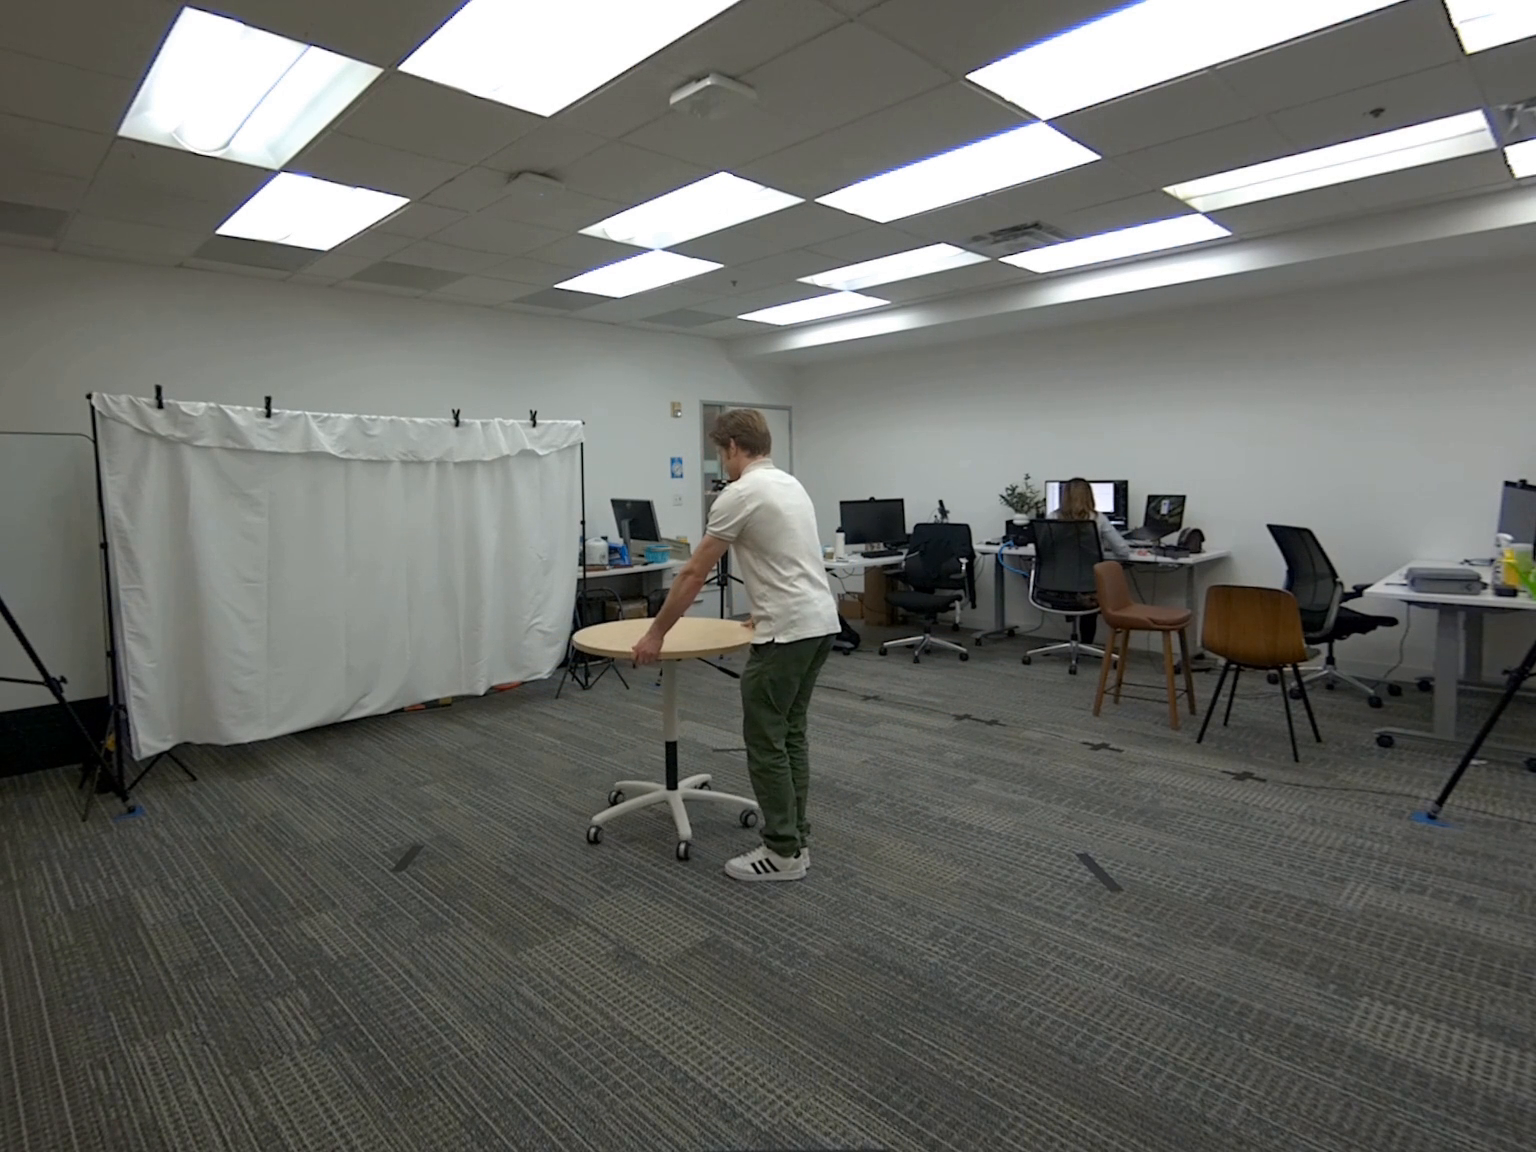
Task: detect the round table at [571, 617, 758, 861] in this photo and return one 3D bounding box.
[{"bbox_3d":[-0.393,0.622,3.481,0.763,0.791,0.768,-1,5,-2],"label":"round table"}]
